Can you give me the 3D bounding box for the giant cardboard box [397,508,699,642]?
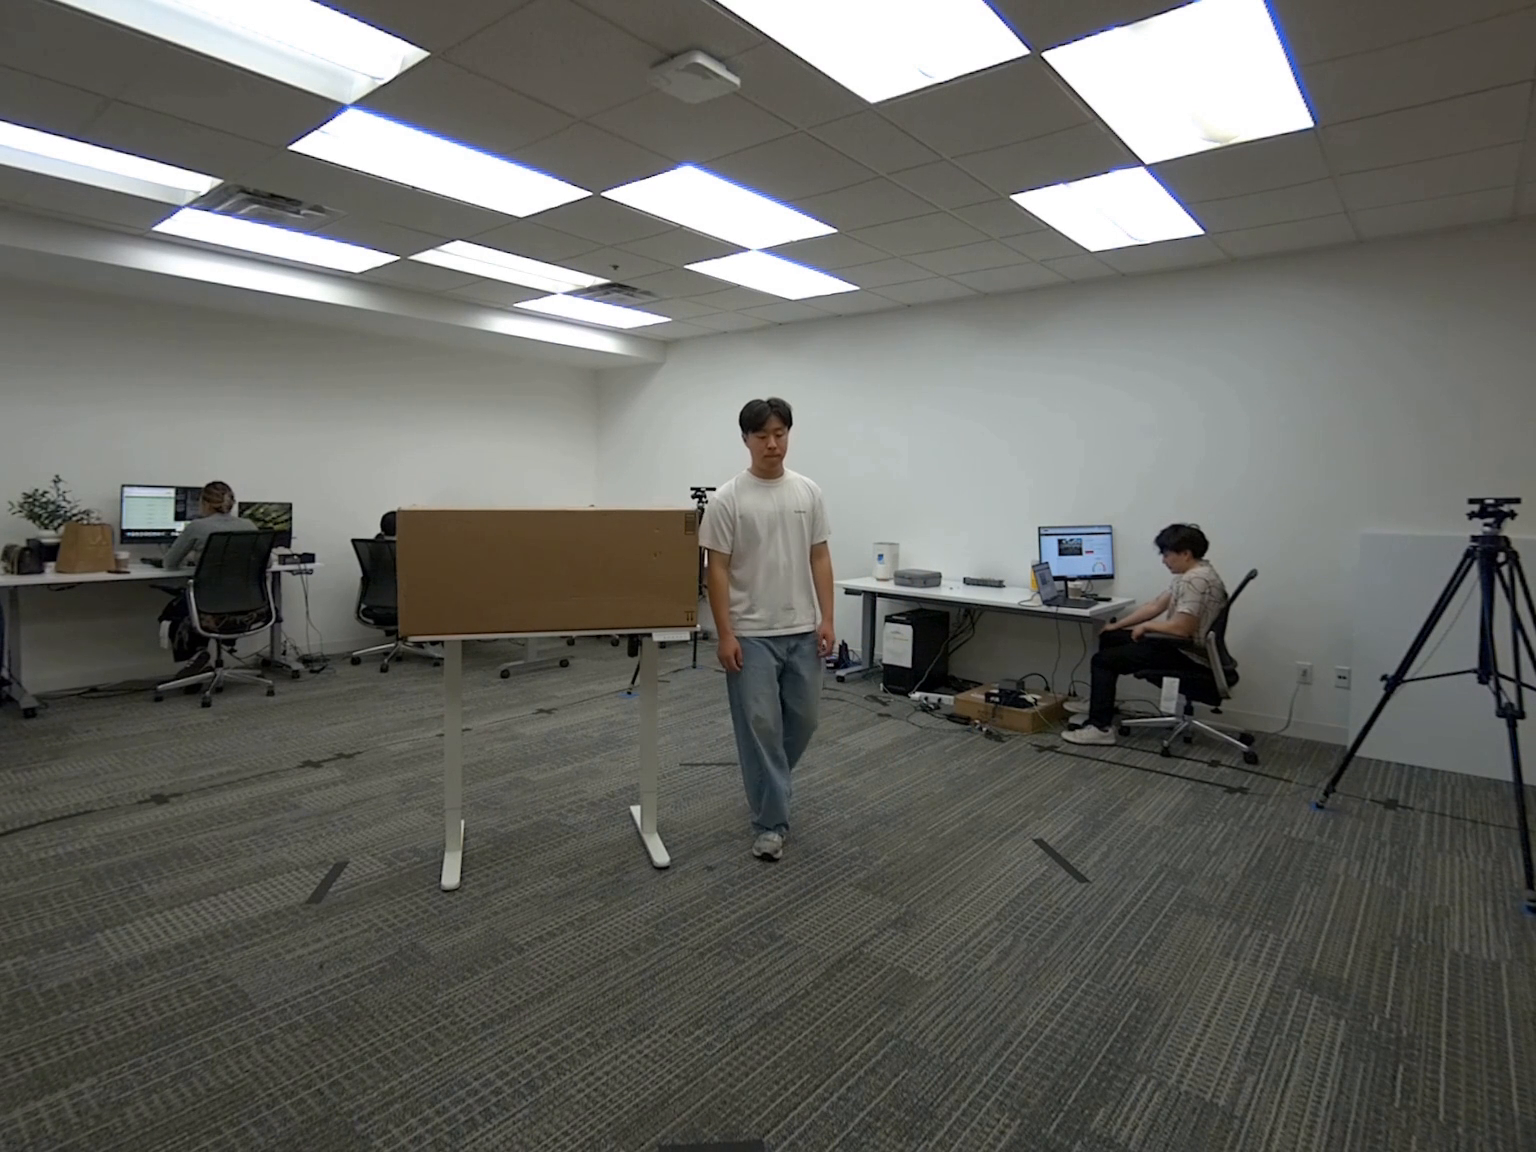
[{"bbox_3d":[-0.829,-0.049,3.195,1.010,0.424,0.590,-1,6,-15],"label":"giant cardboard box"}]
